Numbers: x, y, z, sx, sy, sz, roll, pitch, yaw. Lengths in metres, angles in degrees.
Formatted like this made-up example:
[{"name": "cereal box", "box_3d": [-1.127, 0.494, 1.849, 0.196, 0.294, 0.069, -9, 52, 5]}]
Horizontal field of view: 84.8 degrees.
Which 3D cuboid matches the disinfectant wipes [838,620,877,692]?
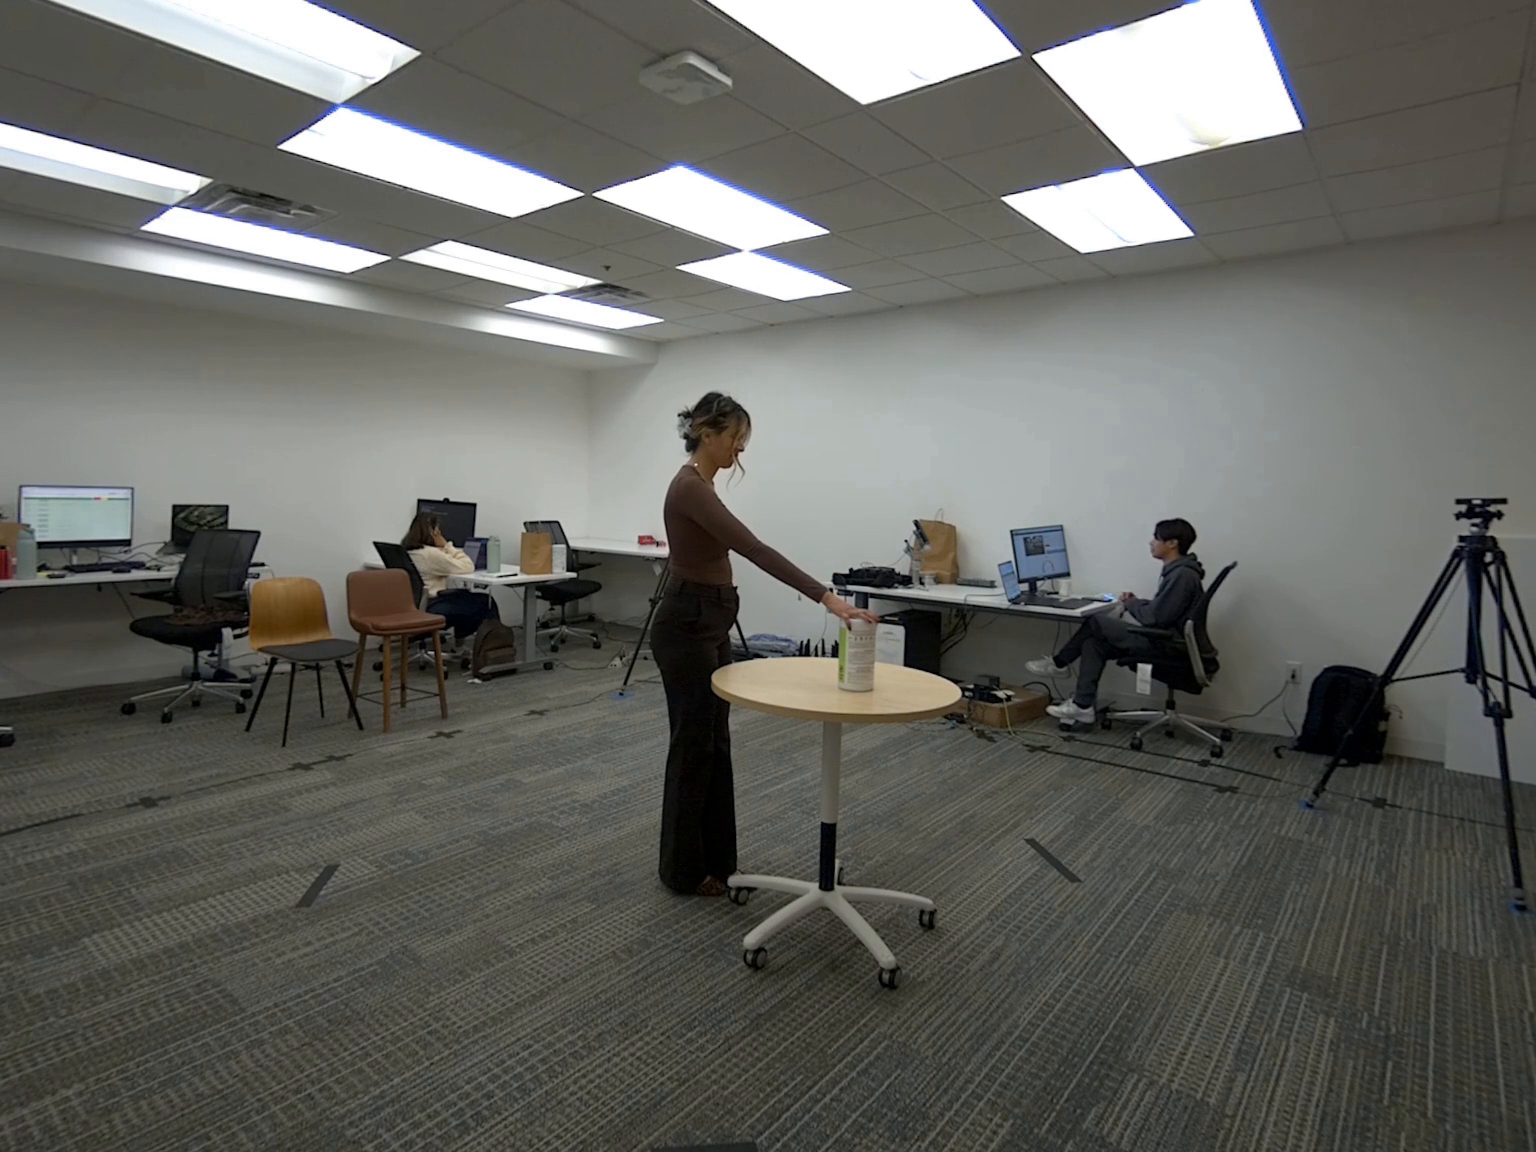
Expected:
[{"name": "disinfectant wipes", "box_3d": [0.263, 0.230, 2.567, 0.118, 0.217, 0.118, 0, 2, -2]}]
